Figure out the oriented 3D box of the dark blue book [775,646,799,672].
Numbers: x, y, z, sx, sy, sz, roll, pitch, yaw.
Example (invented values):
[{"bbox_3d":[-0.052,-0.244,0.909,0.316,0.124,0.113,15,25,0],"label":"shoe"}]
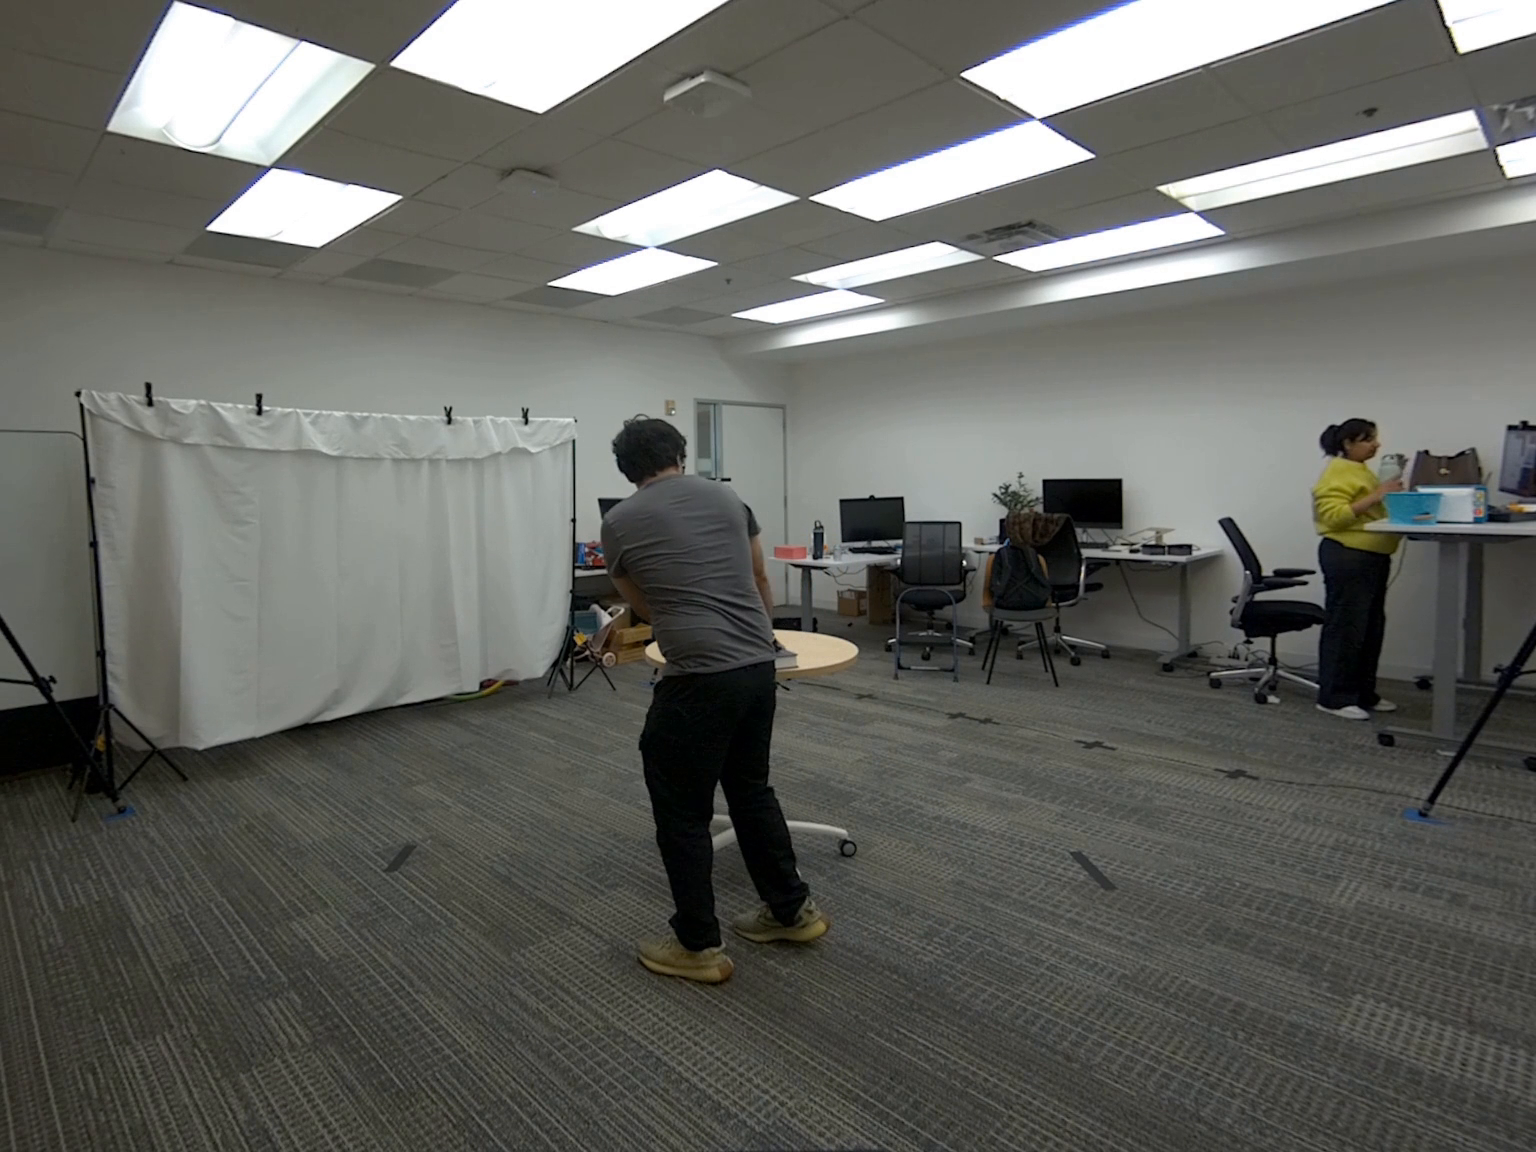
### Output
[{"bbox_3d":[-0.027,0.268,2.847,0.160,0.045,0.251,-3,7,-22],"label":"dark blue book"}]
